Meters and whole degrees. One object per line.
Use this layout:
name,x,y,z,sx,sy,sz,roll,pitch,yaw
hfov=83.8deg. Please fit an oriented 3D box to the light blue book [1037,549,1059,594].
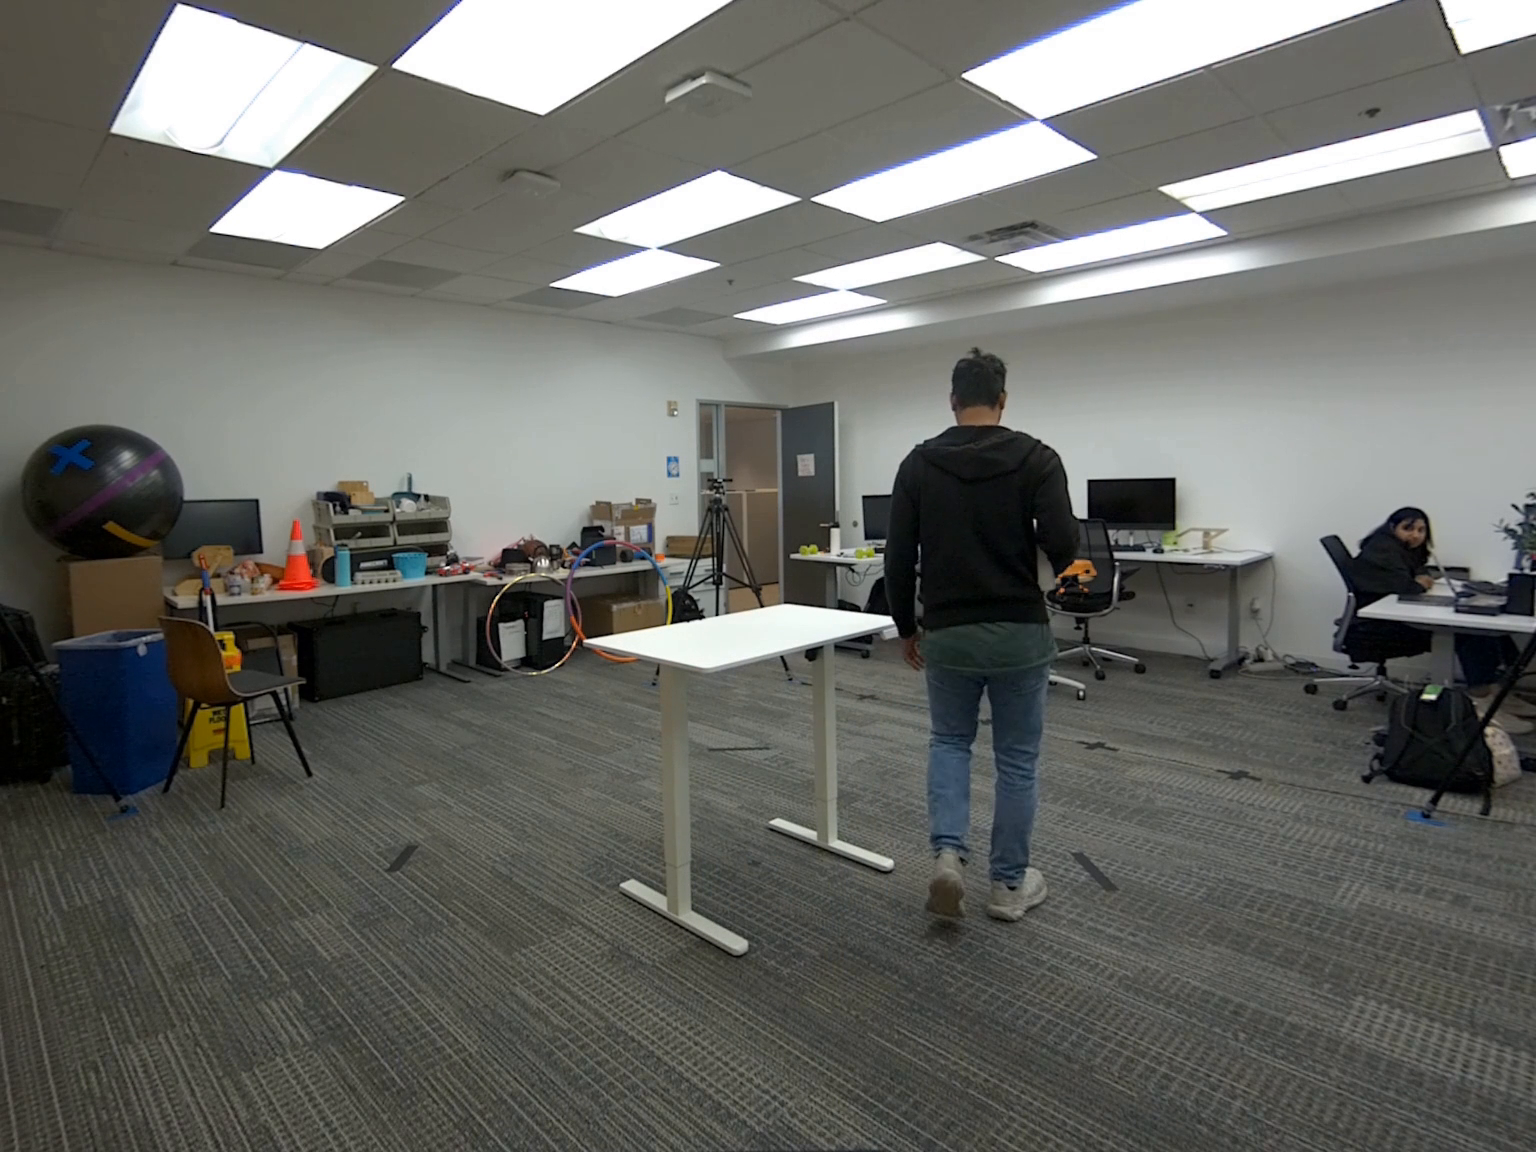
light blue book,0.823,-0.075,2.687,0.059,0.189,0.261,-9,11,10
